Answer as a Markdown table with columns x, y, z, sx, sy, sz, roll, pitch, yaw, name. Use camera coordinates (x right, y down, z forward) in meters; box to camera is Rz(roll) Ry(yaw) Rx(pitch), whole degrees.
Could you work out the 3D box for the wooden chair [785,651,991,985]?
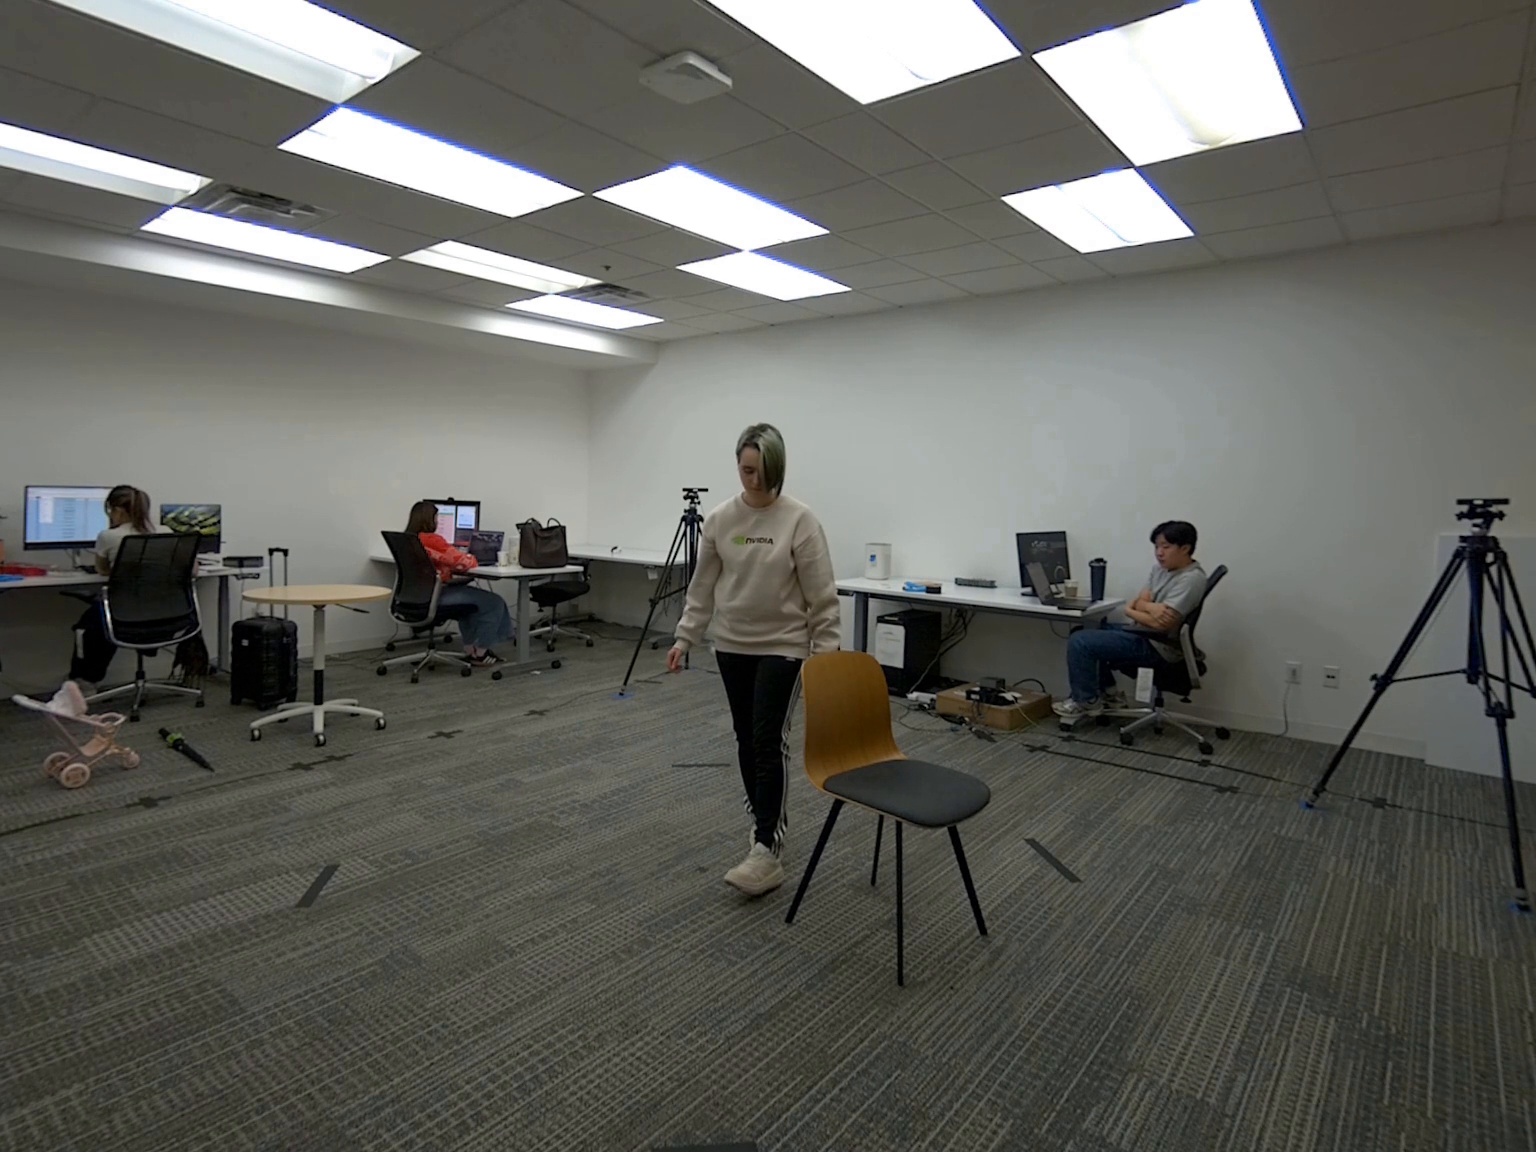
| x | y | z | sx | sy | sz | roll | pitch | yaw | name |
| --- | --- | --- | --- | --- | --- | --- | --- | --- | --- |
| 0.386 | 0.696 | 2.677 | 0.463 | 0.878 | 0.539 | -1 | 0 | -43 | wooden chair |
